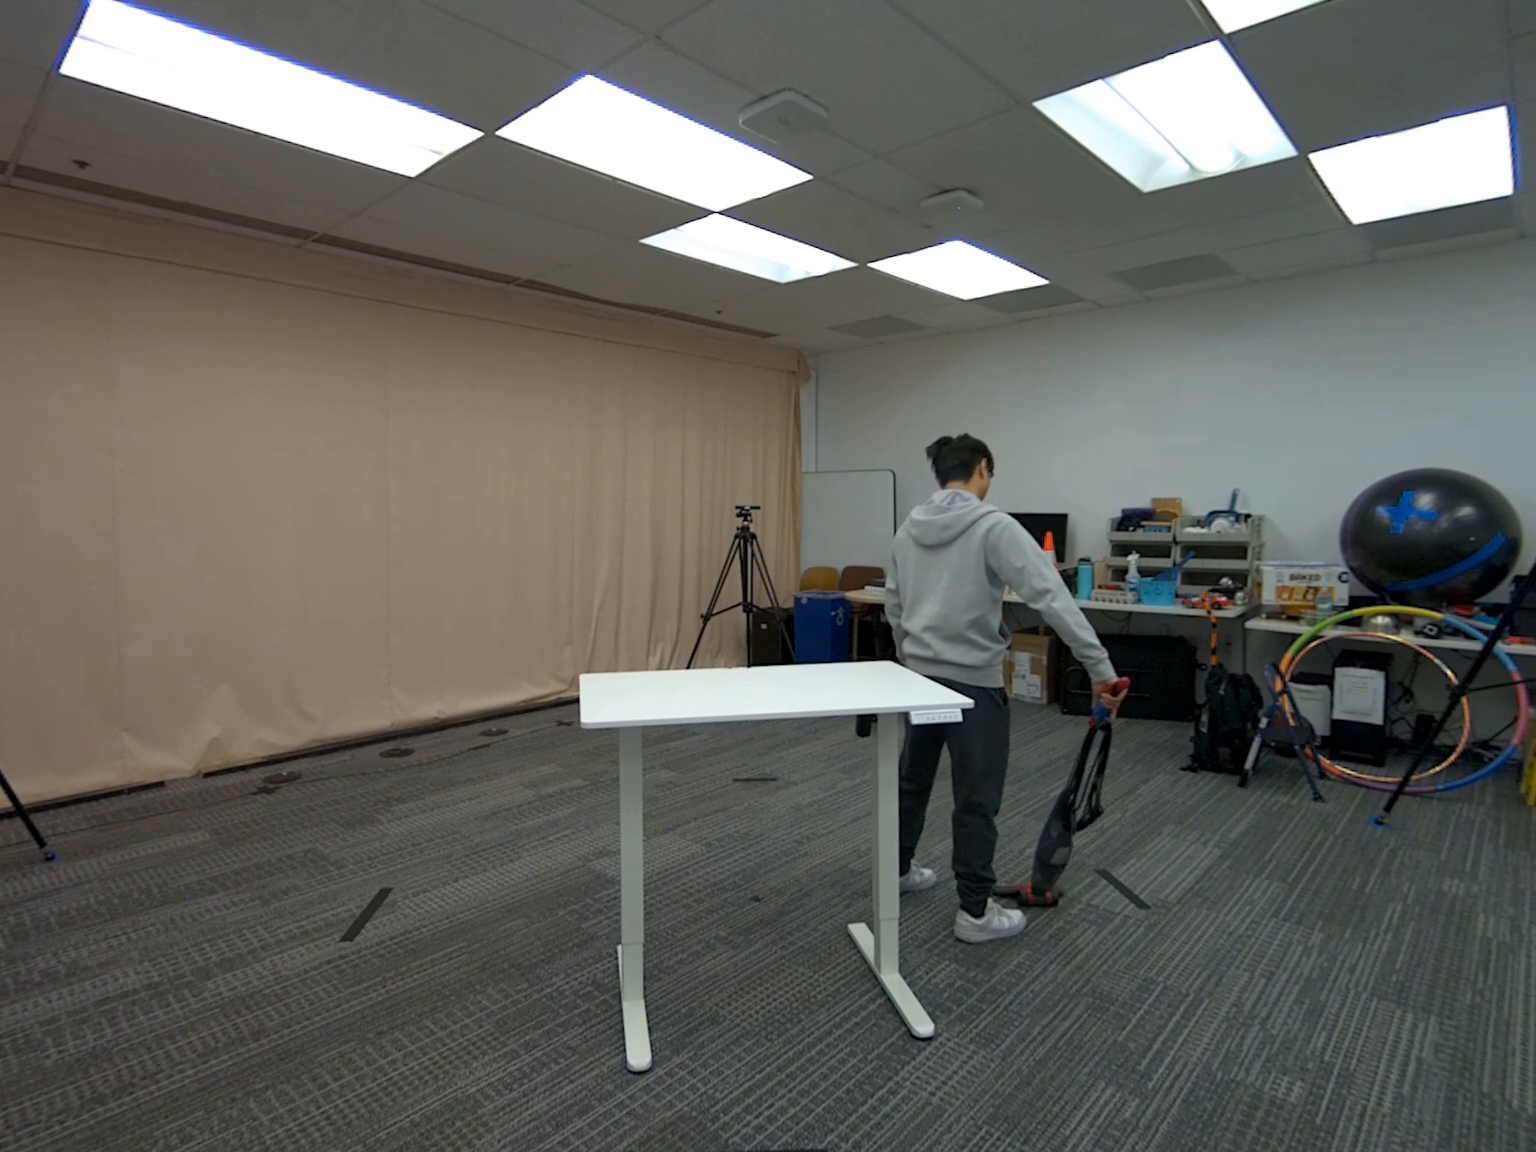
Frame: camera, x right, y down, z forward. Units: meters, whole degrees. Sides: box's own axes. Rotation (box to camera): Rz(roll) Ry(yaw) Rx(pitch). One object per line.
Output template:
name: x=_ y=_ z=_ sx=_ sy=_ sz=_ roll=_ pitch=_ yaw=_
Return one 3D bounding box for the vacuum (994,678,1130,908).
vacuum: x=0.973 y=0.724 z=2.686 sx=0.252 sy=1.031 sz=0.147 roll=-1 pitch=37 yaw=-4
